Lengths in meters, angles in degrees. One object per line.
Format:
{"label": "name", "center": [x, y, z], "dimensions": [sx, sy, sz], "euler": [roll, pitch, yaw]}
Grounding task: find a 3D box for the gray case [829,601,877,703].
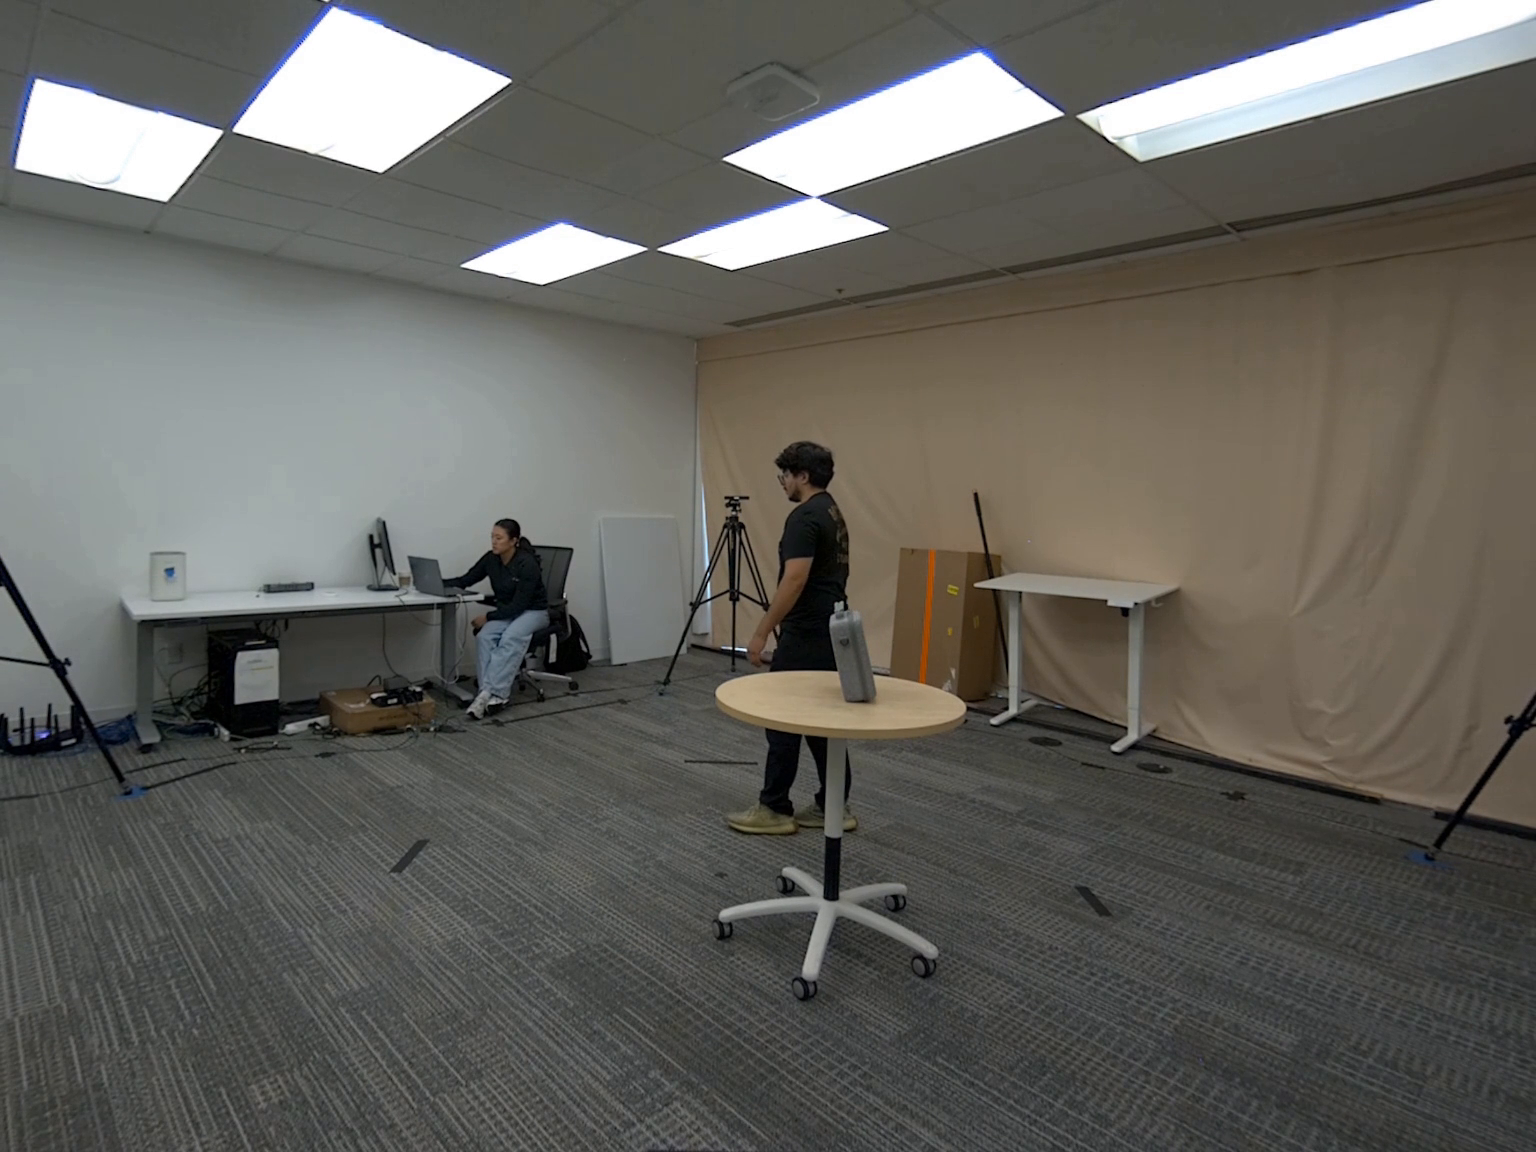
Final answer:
{"label": "gray case", "center": [0.244, 0.243, 2.634], "dimensions": [0.105, 0.260, 0.256], "euler": [-9, 2, 4]}
